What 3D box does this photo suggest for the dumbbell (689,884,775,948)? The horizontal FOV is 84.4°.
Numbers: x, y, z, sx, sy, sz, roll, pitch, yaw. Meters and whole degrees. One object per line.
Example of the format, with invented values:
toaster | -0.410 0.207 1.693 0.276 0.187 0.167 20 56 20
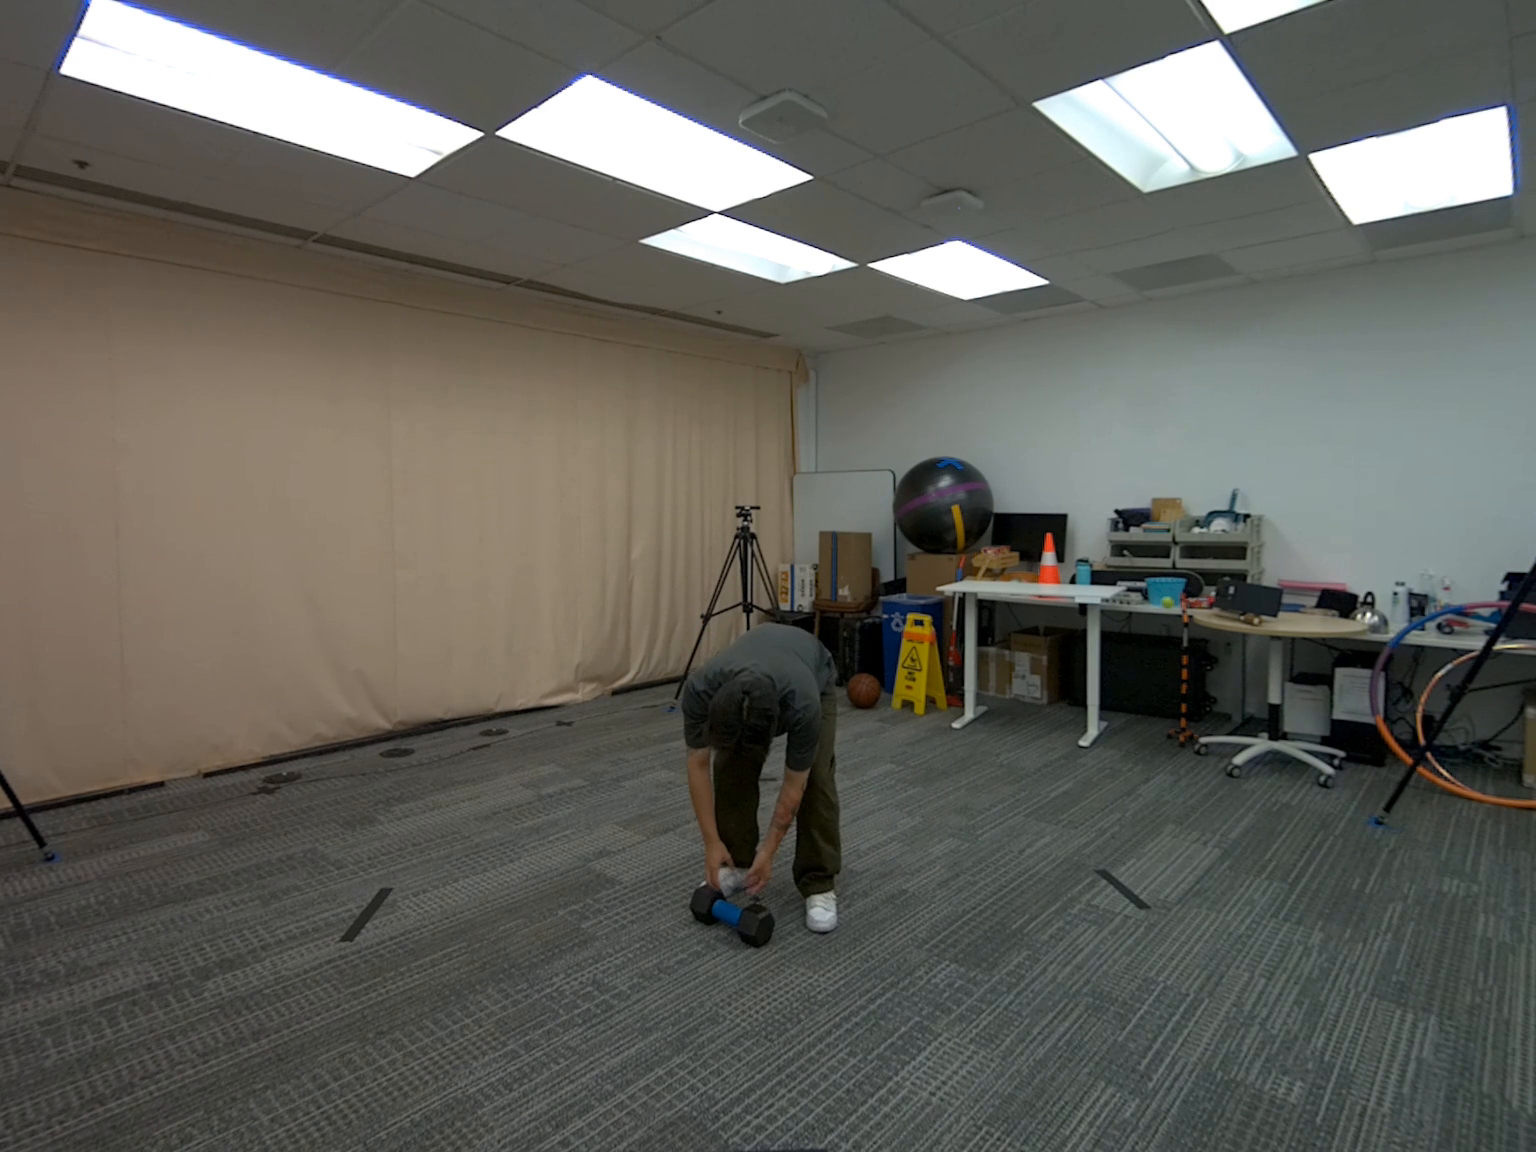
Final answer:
dumbbell | -0.118 1.105 2.762 0.303 0.120 0.107 4 37 42
